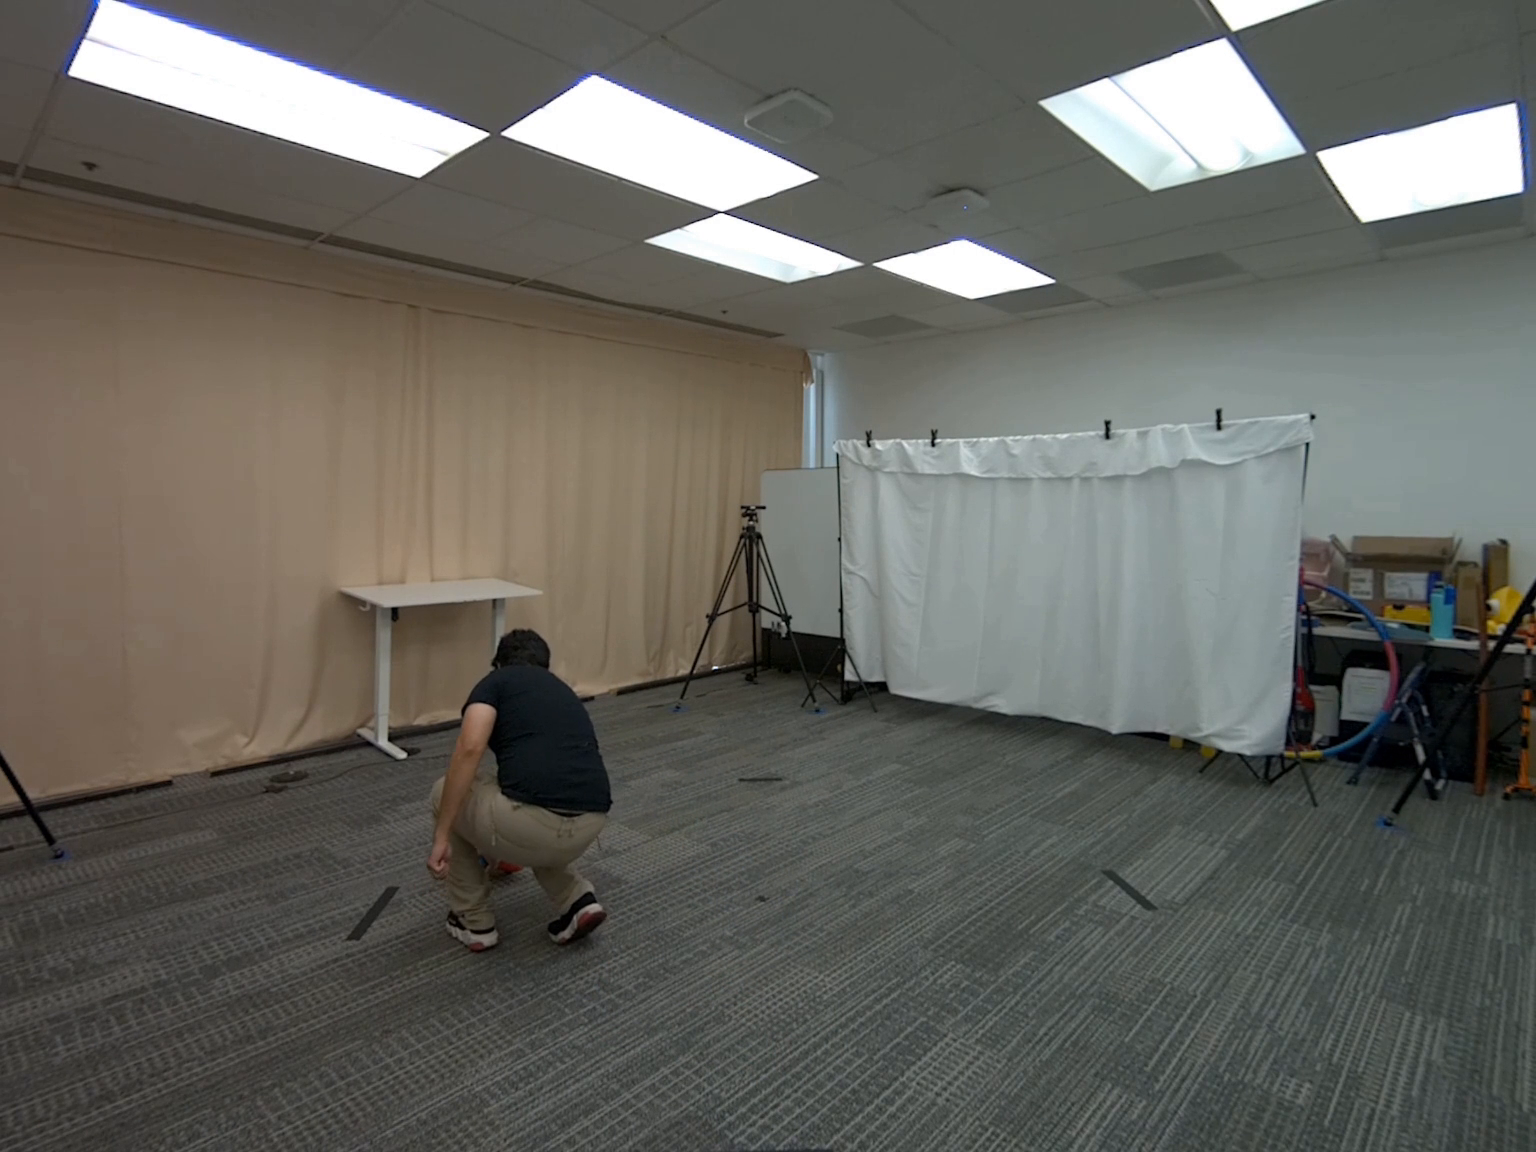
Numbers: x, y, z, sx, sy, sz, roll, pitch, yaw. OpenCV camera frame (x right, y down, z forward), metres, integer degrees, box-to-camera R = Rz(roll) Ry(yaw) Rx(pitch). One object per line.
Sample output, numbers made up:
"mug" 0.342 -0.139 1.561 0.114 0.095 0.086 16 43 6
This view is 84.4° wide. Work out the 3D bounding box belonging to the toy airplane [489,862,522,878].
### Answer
"toy airplane" -1.024 1.068 3.135 0.248 0.156 0.263 1 3 -12
